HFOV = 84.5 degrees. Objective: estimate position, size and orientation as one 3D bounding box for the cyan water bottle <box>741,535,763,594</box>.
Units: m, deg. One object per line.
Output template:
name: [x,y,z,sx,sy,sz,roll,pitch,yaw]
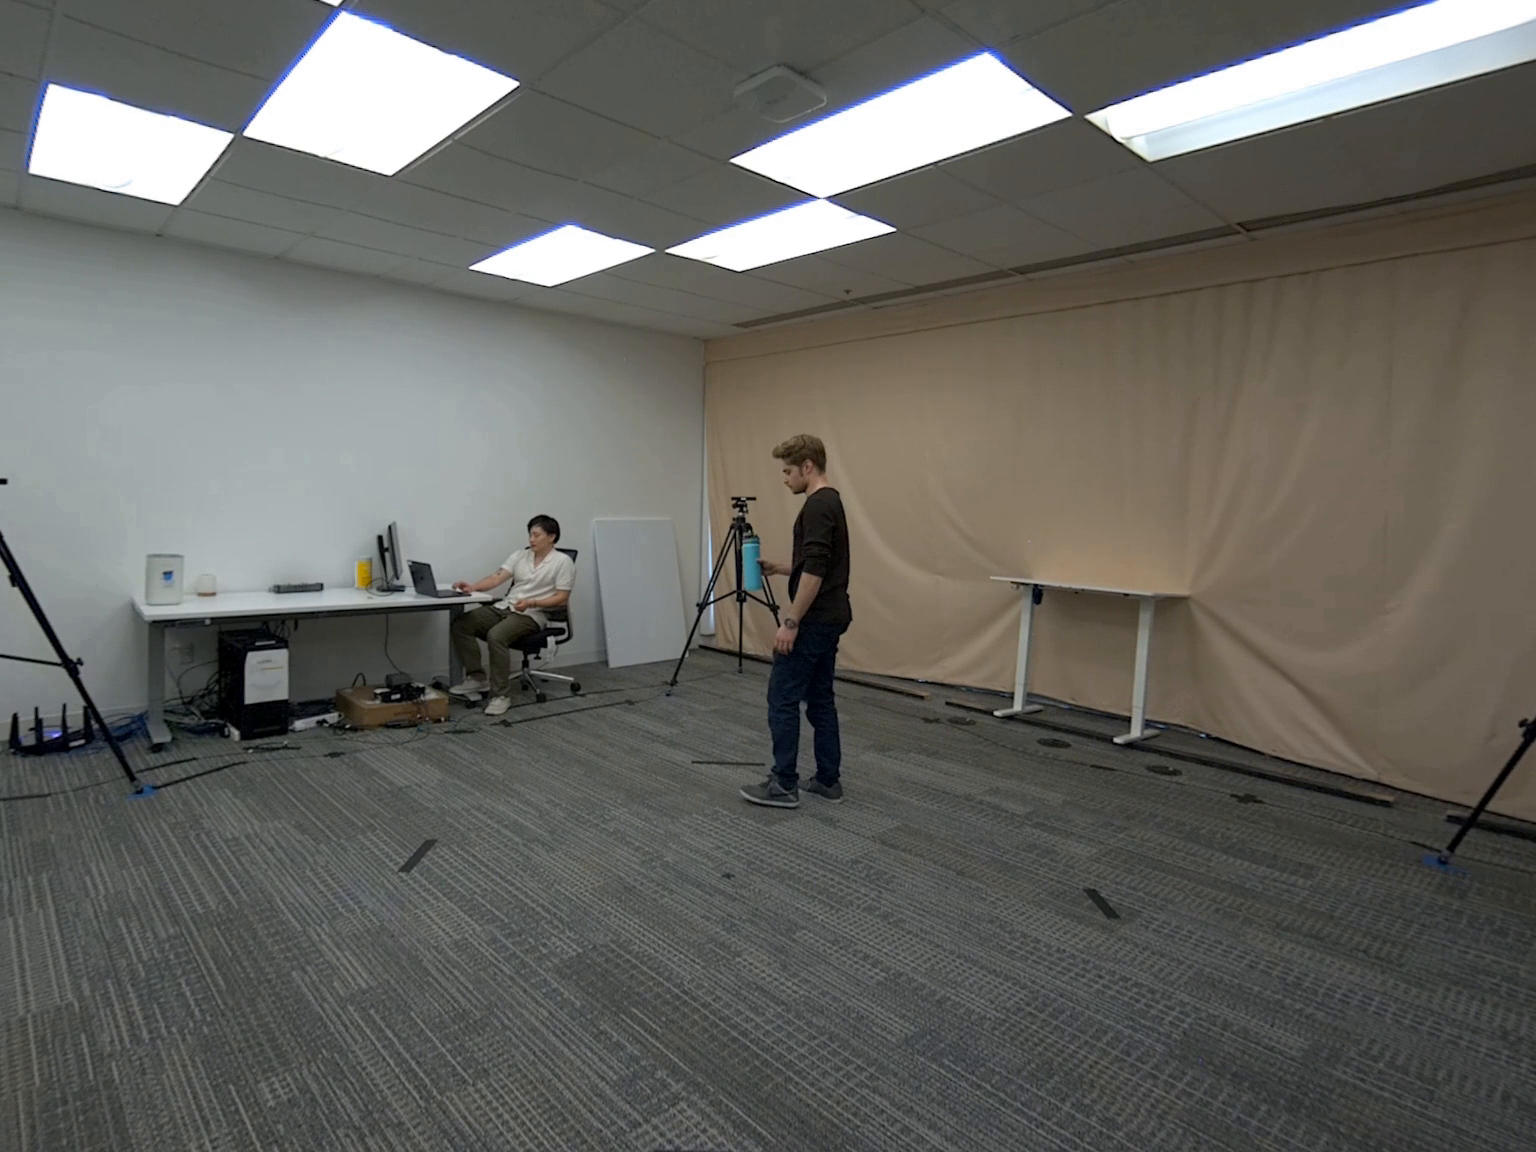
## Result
cyan water bottle: [-0.085,-0.074,4.144,0.092,0.284,0.092,-4,-5,-2]
